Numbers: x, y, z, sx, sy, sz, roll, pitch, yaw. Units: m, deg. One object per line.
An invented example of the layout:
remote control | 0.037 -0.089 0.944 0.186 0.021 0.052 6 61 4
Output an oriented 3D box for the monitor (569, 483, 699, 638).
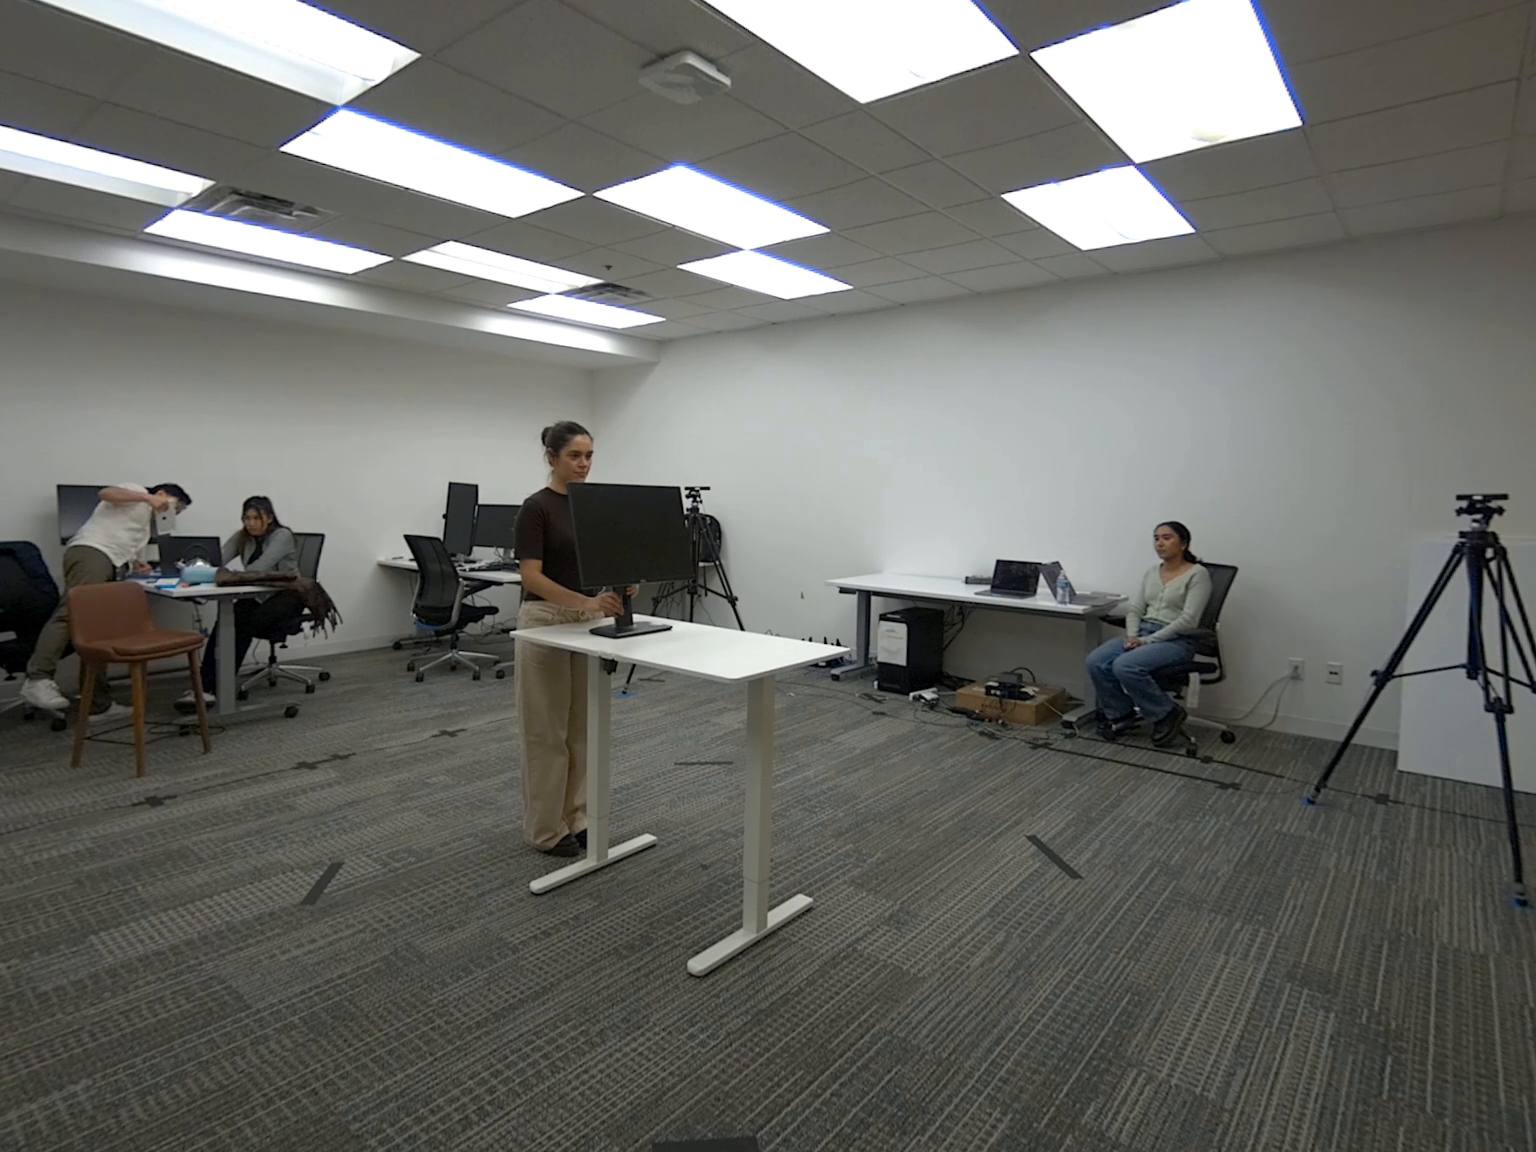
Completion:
monitor | -0.497 -0.064 2.962 0.180 0.514 0.514 7 6 37
